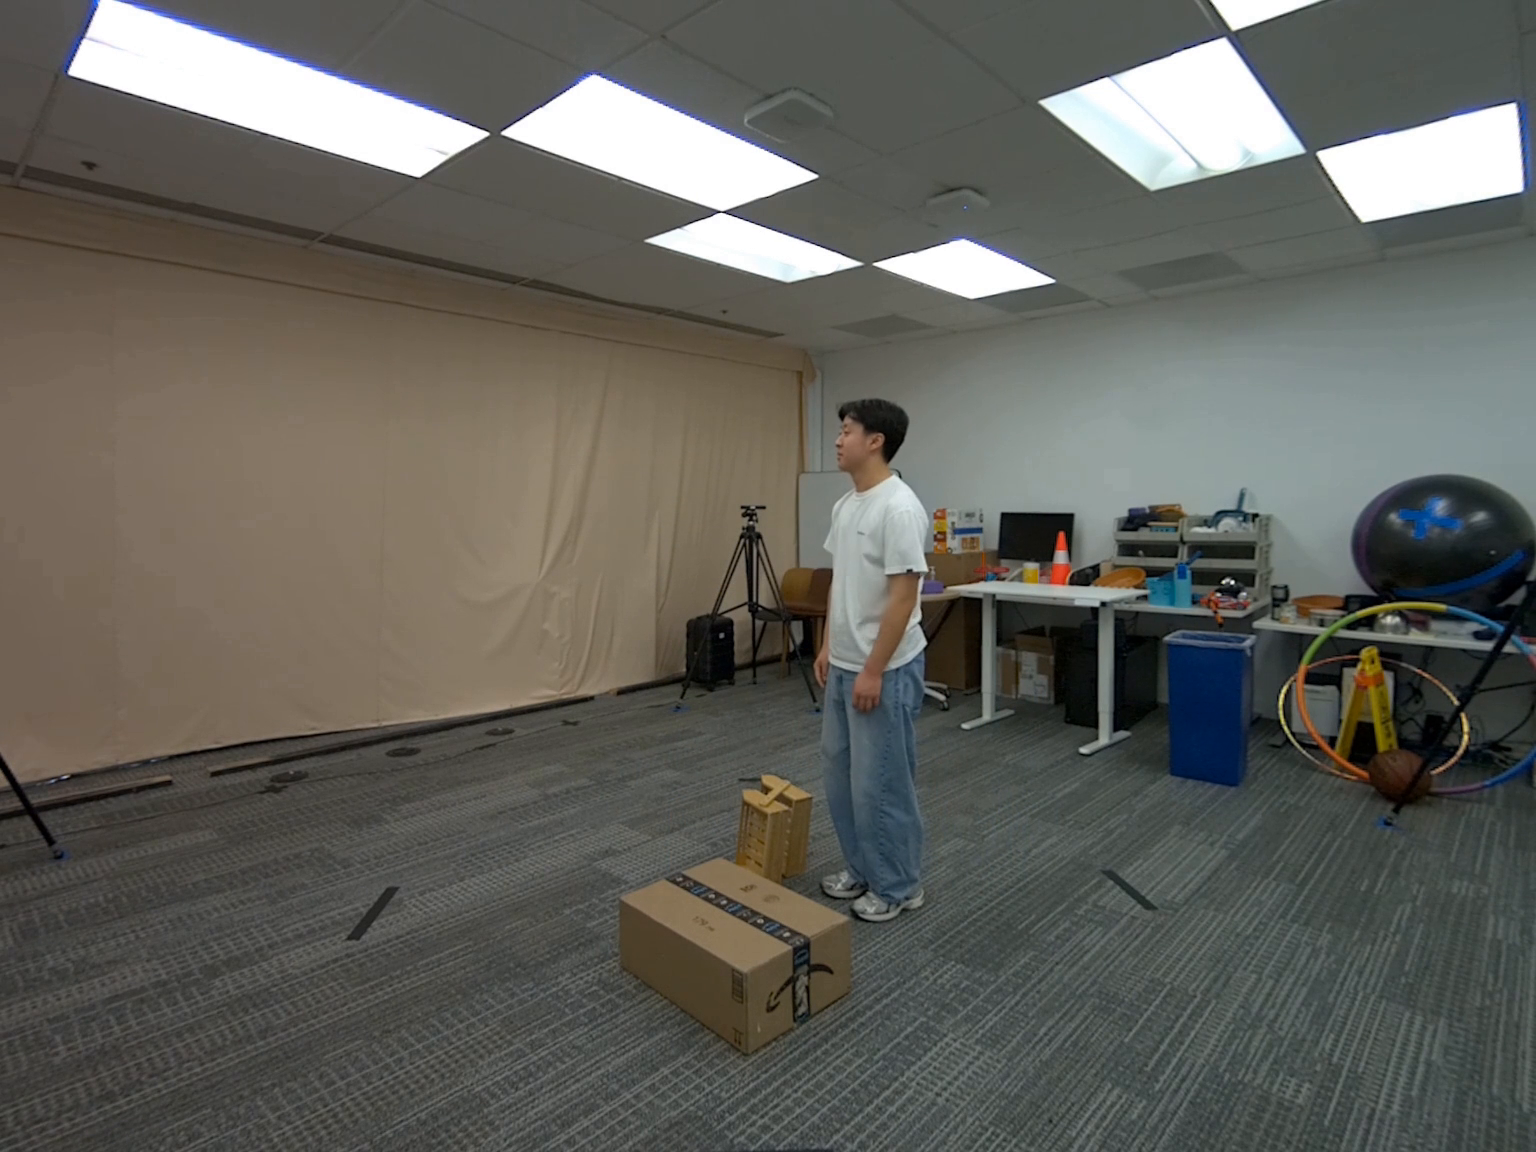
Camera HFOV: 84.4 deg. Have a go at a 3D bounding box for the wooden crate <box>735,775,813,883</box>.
[{"bbox_3d":[-0.005,0.961,3.174,0.264,0.323,0.312,2,7,-40],"label":"wooden crate"}]
